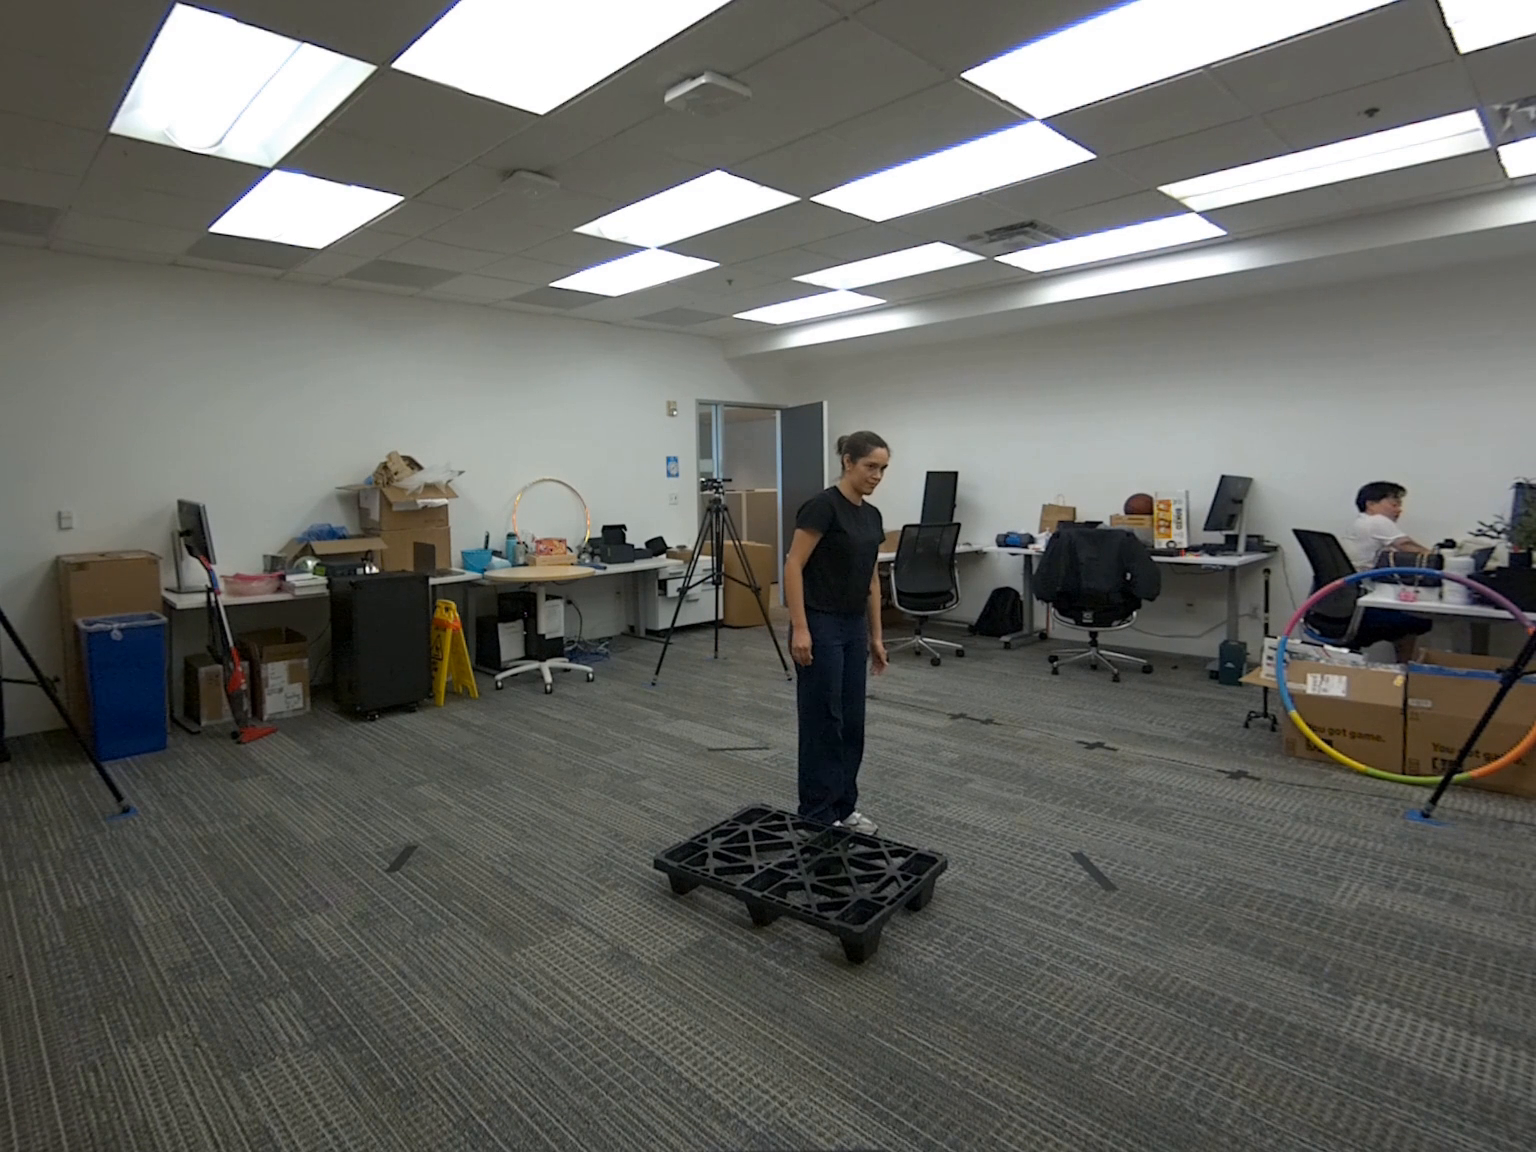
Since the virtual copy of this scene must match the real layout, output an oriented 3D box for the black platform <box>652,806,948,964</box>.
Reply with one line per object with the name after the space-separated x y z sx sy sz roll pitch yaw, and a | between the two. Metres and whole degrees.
0.104 1.003 2.873 0.829 0.143 0.590 4 8 37 | black platform
